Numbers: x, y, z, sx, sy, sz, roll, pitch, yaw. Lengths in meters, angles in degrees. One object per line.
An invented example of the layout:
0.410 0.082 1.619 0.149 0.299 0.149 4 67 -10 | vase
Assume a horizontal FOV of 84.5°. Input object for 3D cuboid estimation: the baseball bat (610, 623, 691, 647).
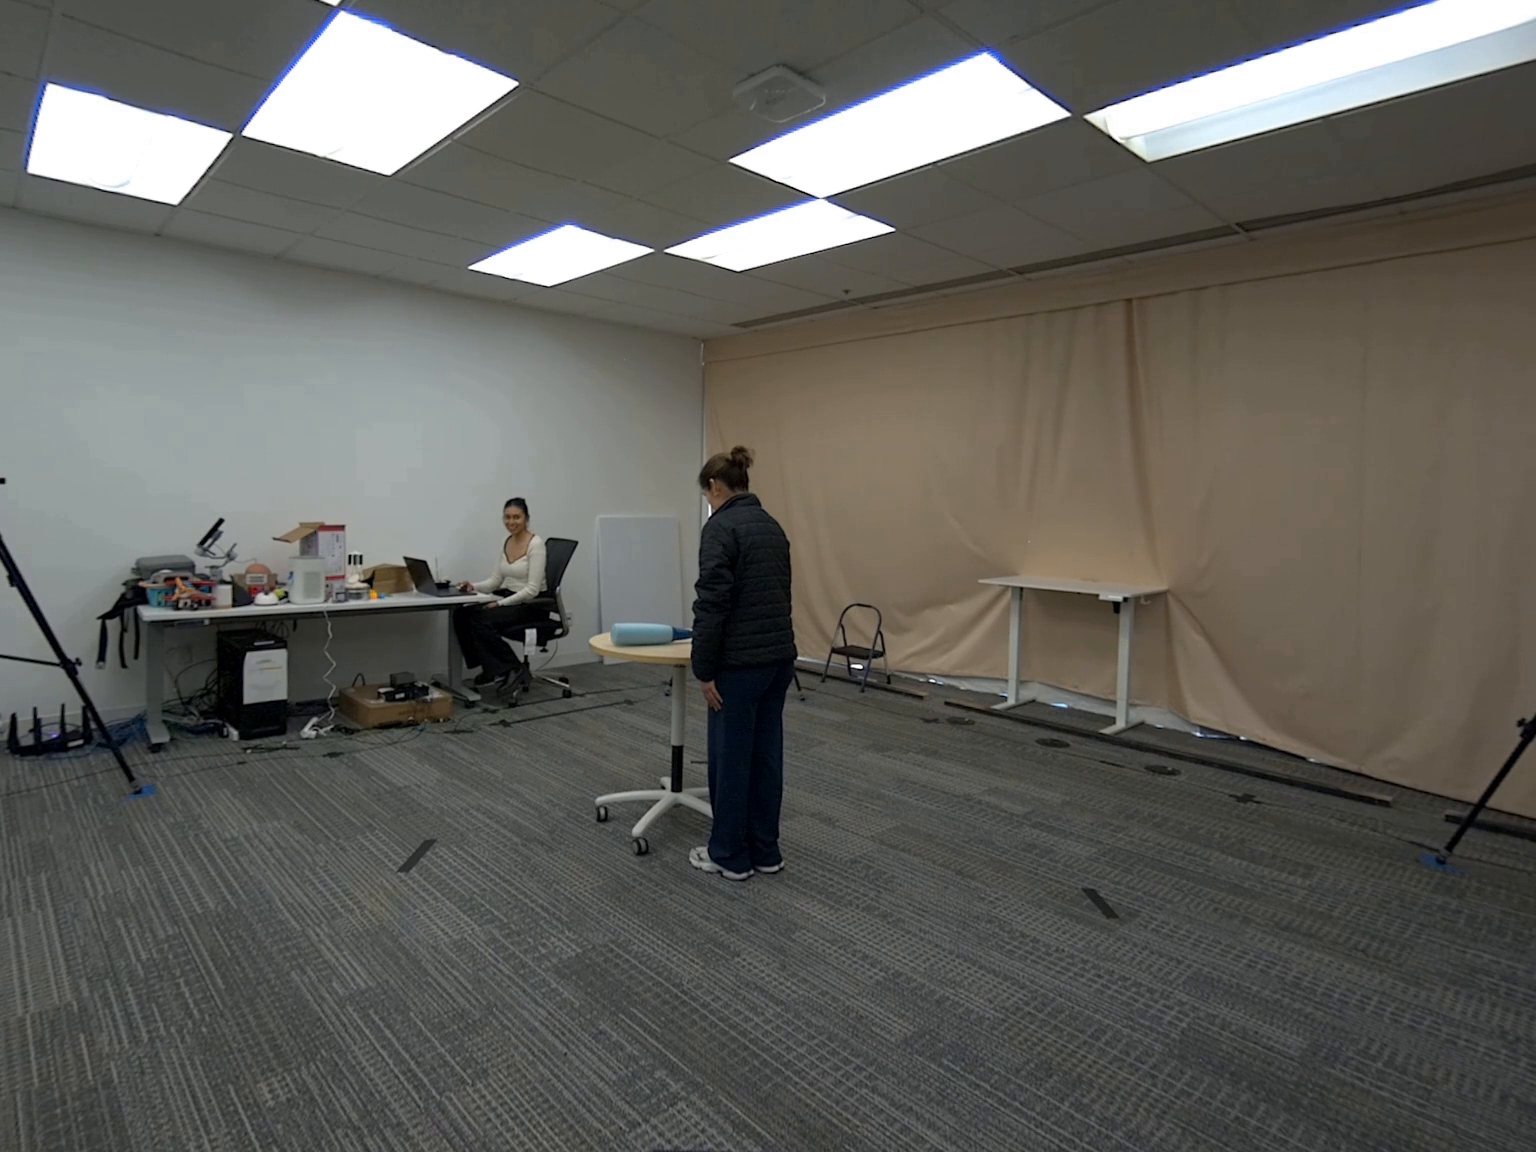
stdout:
-0.389 0.247 3.491 0.532 0.089 0.091 3 3 -29 | baseball bat
